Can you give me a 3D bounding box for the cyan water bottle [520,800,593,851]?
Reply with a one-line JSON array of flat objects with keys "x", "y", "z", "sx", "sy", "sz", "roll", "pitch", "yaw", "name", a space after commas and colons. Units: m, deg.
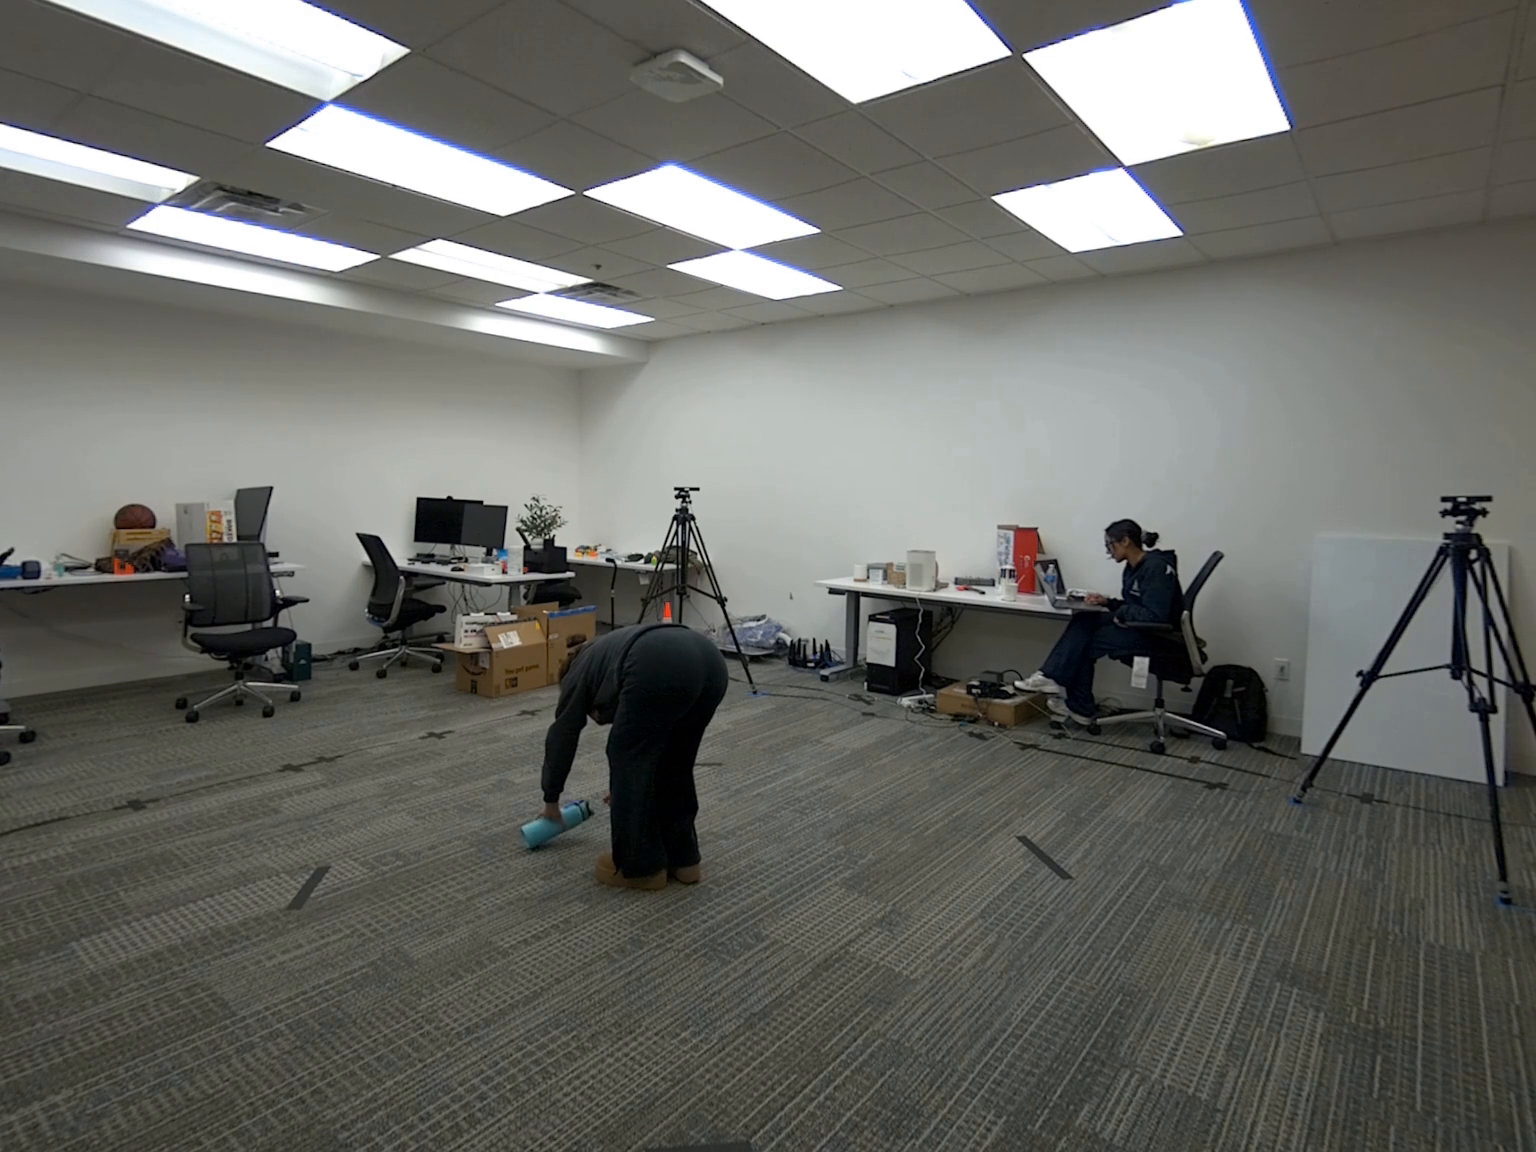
[{"x": -0.827, "y": 0.955, "z": 3.316, "sx": 0.279, "sy": 0.091, "sz": 0.095, "roll": -20, "pitch": 13, "yaw": -26, "name": "cyan water bottle"}]
